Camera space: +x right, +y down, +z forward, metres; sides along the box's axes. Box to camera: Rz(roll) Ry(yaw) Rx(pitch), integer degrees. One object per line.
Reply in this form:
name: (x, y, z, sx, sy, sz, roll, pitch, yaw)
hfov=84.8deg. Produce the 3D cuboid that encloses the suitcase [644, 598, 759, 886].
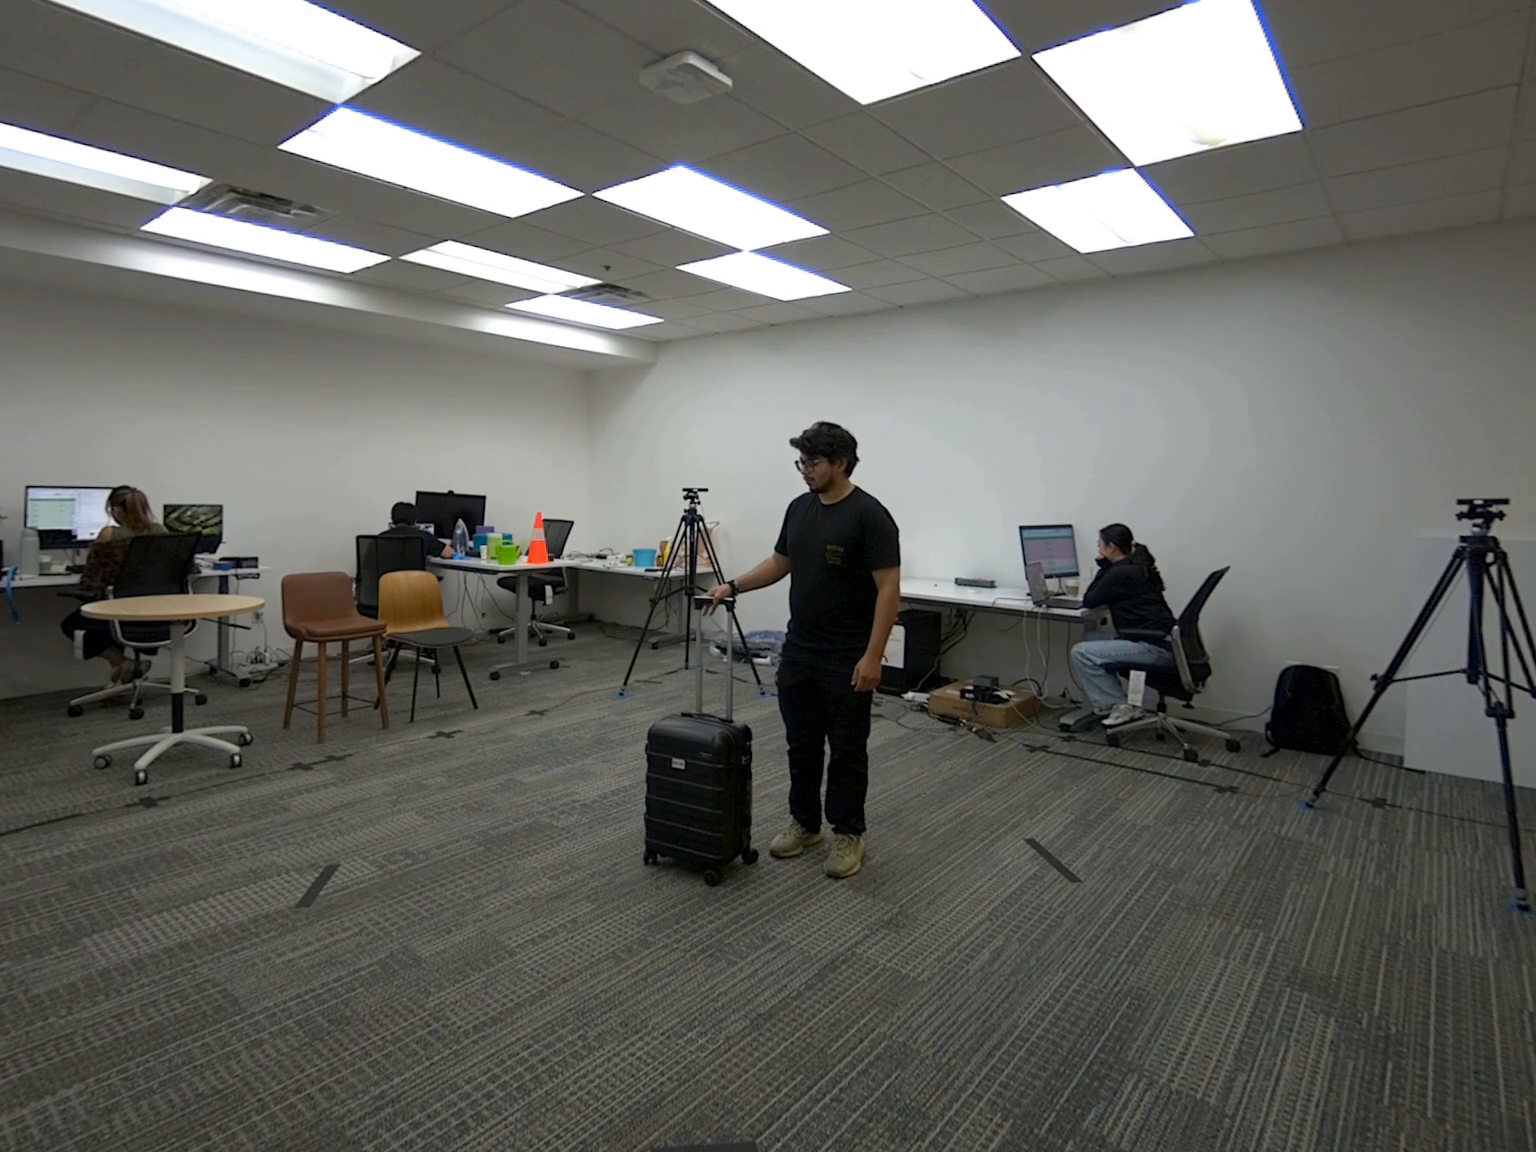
suitcase: (-0.267, 0.590, 3.121, 0.395, 0.974, 0.251, 2, 6, 30)
